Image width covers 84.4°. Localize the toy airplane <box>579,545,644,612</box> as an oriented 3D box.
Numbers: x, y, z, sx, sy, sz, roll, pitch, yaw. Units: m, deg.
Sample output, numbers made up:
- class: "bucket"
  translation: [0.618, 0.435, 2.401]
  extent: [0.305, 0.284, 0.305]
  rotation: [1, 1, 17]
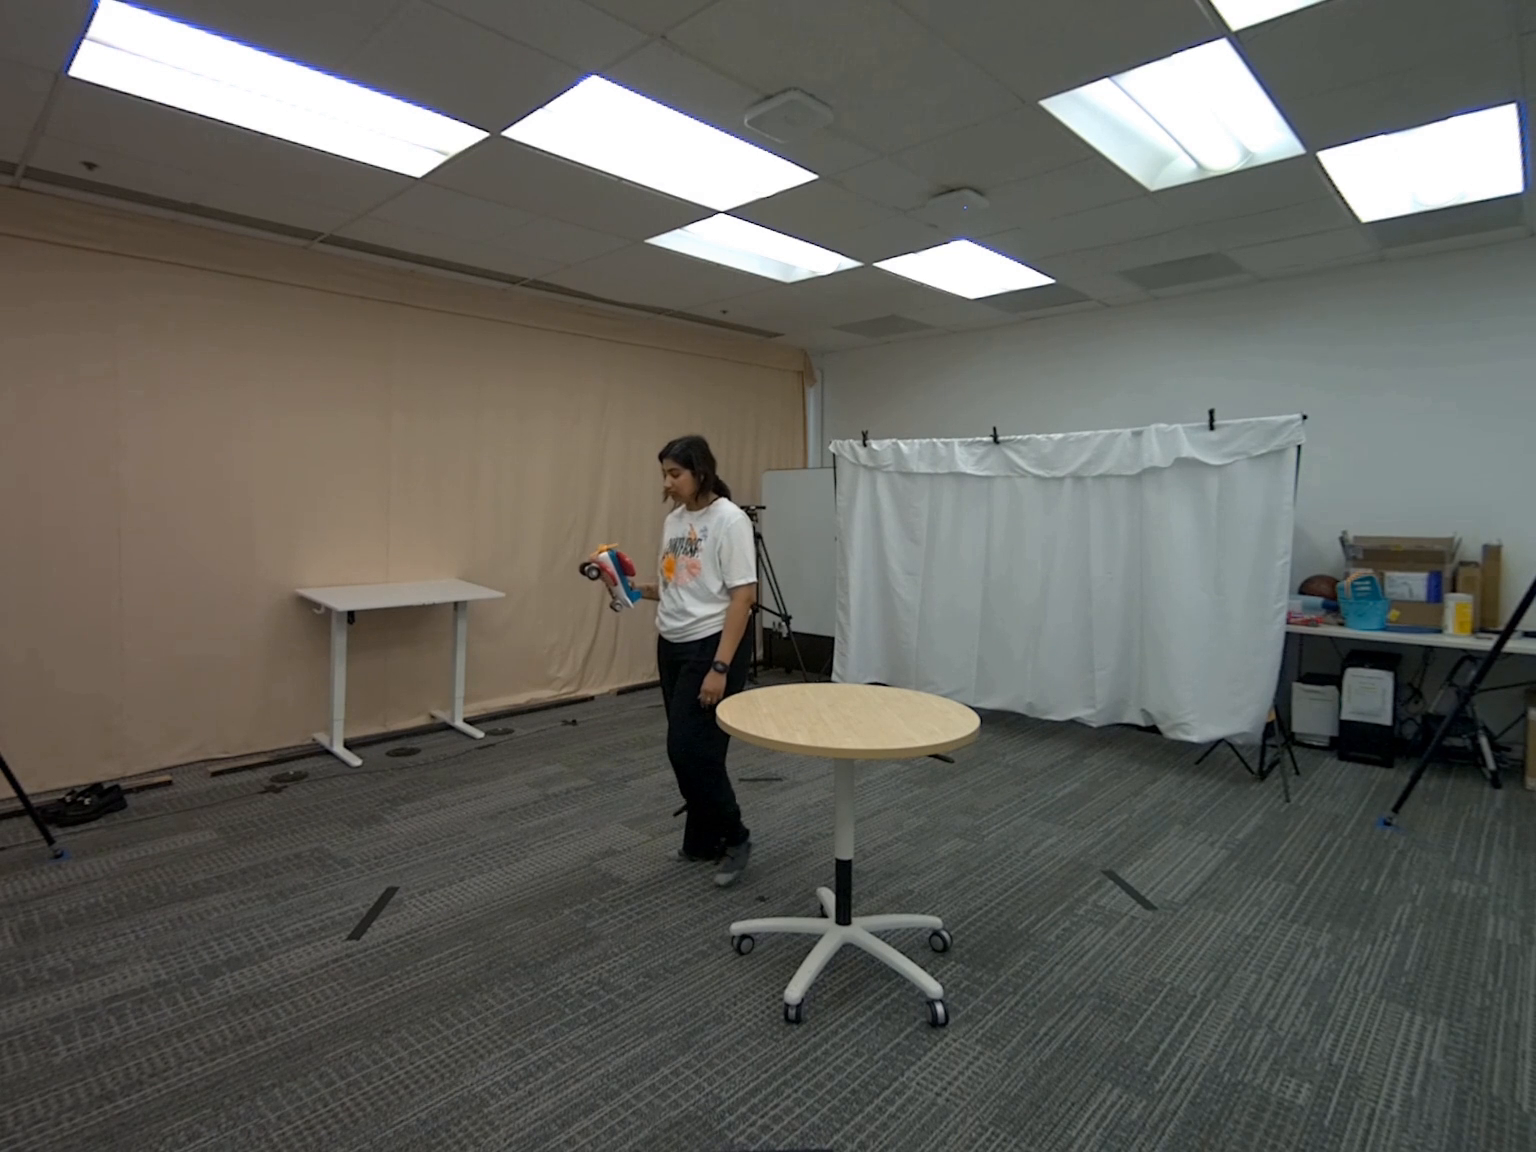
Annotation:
- class: "toy airplane"
  translation: [-0.590, 0.005, 3.168]
  extent: [0.260, 0.155, 0.252]
  rotation: [35, -21, 34]
